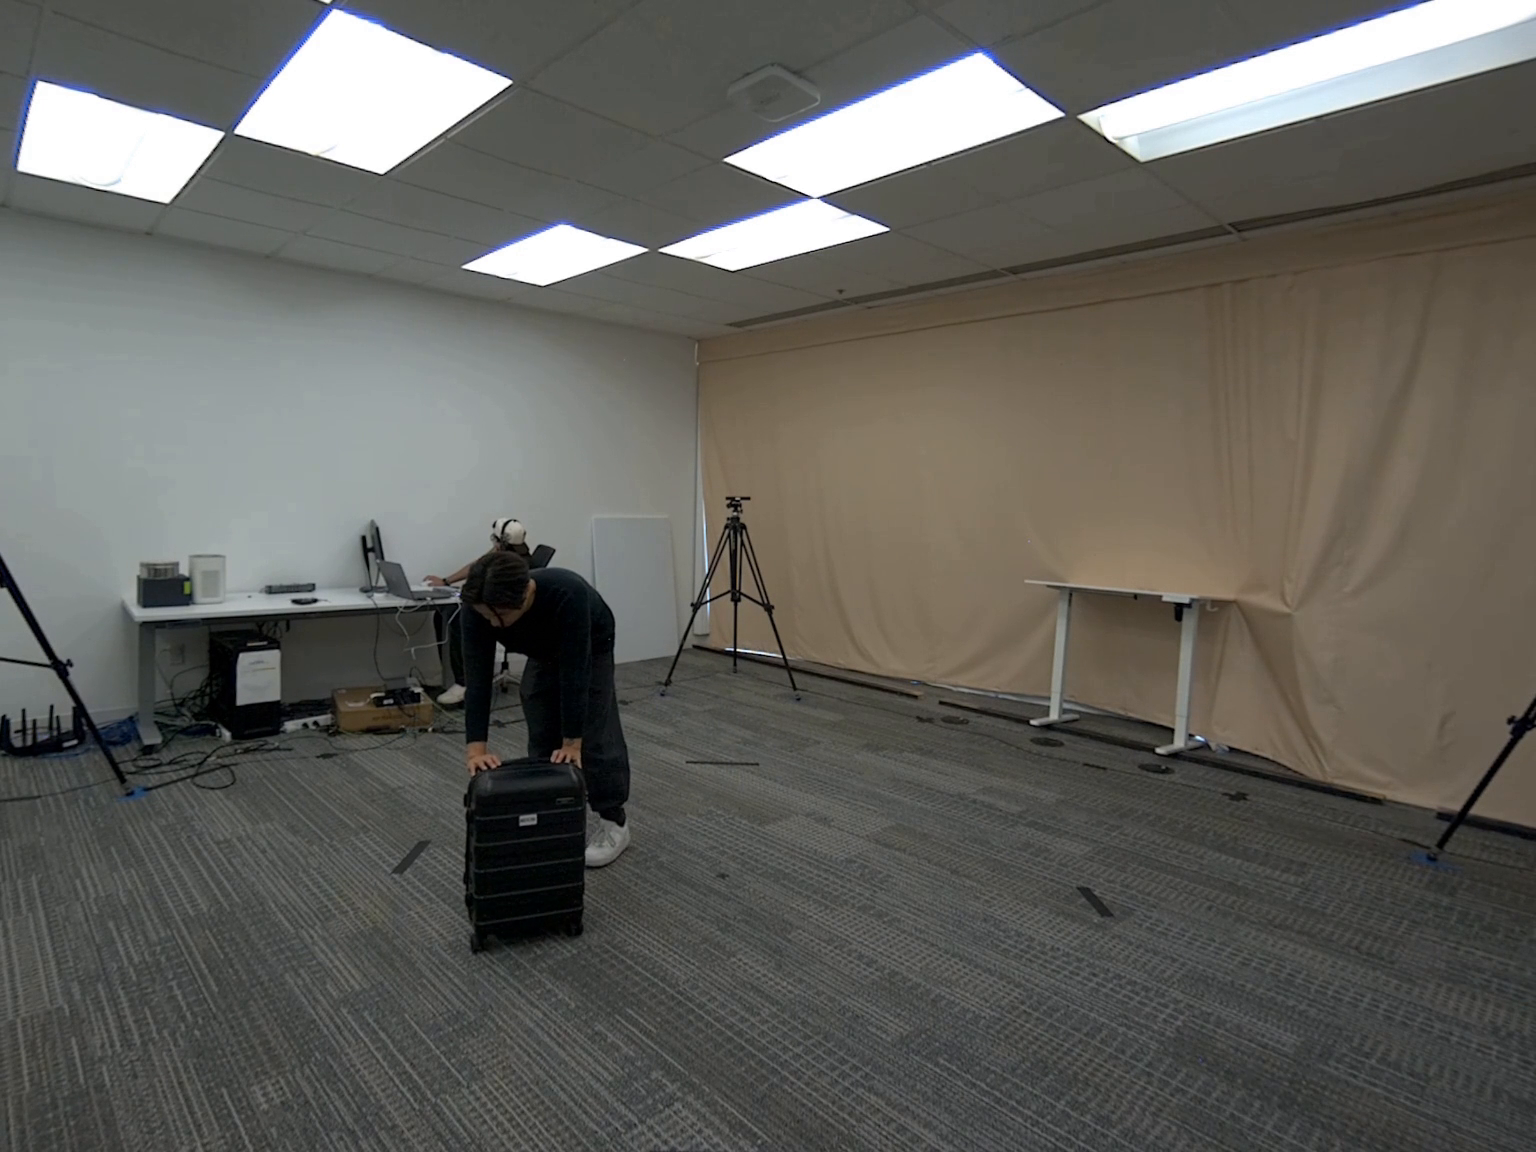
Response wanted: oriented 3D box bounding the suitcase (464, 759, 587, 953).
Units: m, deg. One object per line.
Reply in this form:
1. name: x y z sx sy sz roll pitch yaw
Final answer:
1. suitcase: -0.772 0.861 2.670 0.369 0.547 0.253 1 6 -22
